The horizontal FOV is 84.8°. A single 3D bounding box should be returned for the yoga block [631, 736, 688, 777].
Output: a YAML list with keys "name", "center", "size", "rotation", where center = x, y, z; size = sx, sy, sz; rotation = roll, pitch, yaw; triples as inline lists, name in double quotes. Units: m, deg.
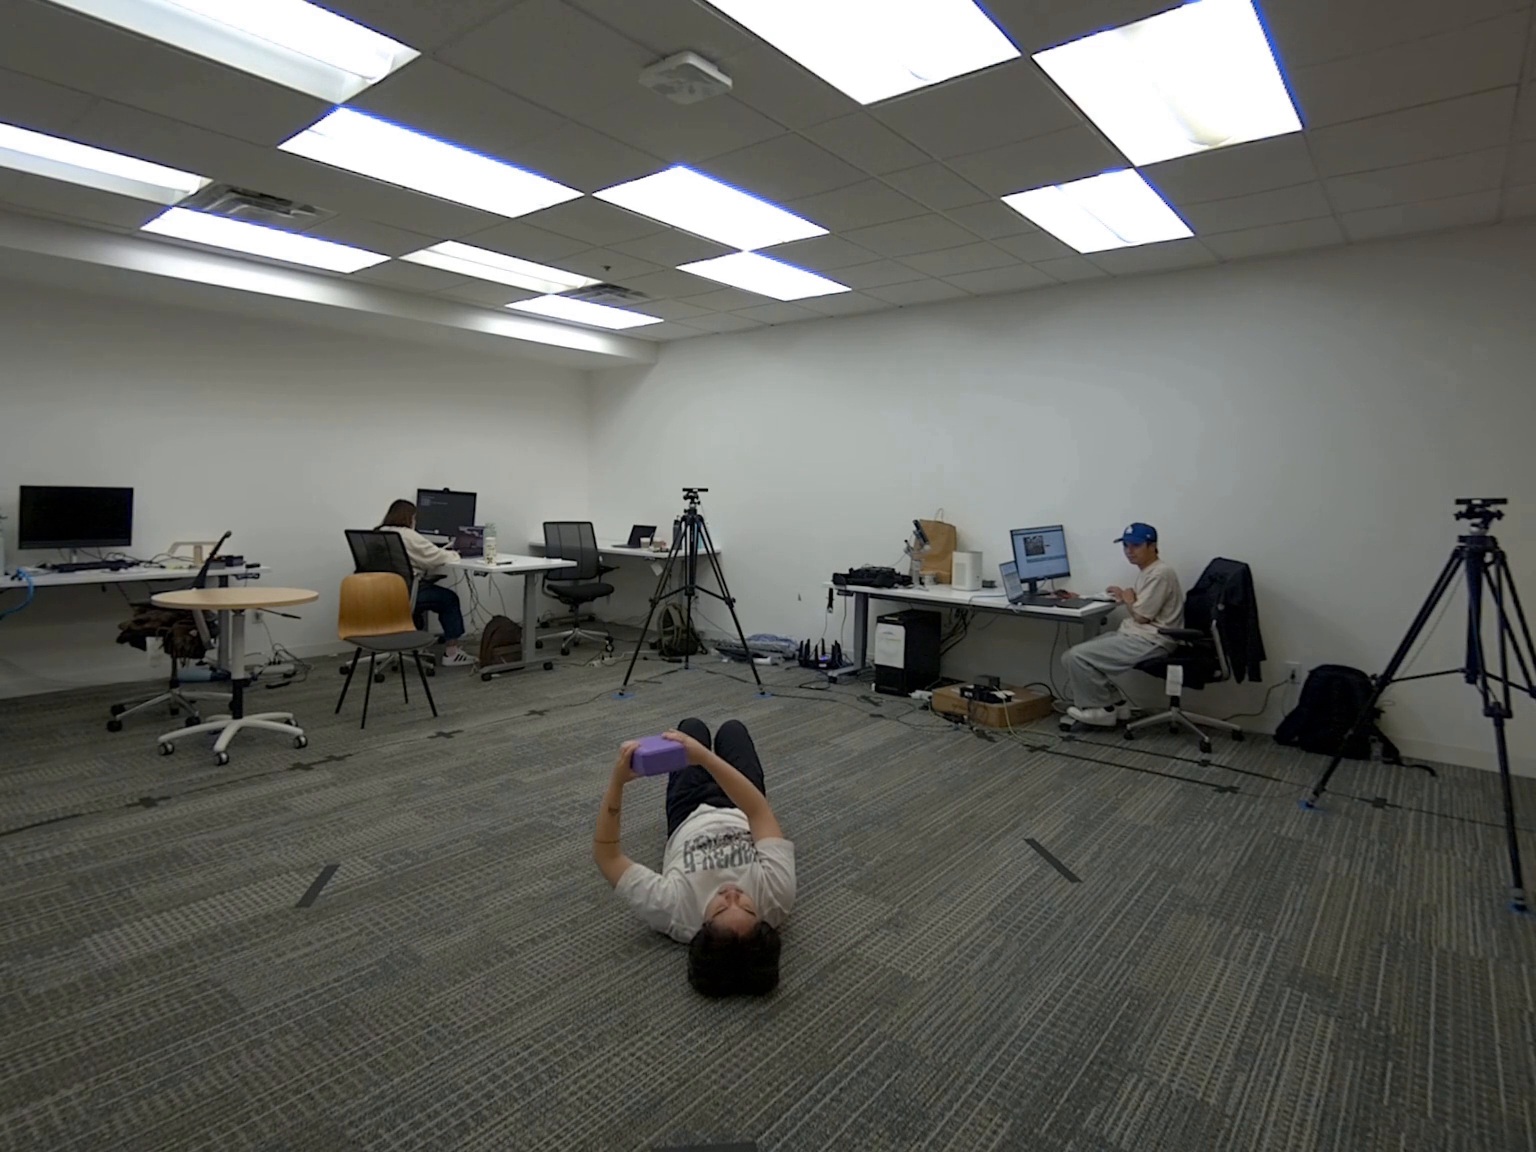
- name: "yoga block"
  center: [-0.383, 0.574, 2.706]
  size: [0.146, 0.076, 0.234]
  rotation: [-6, 1, -26]
